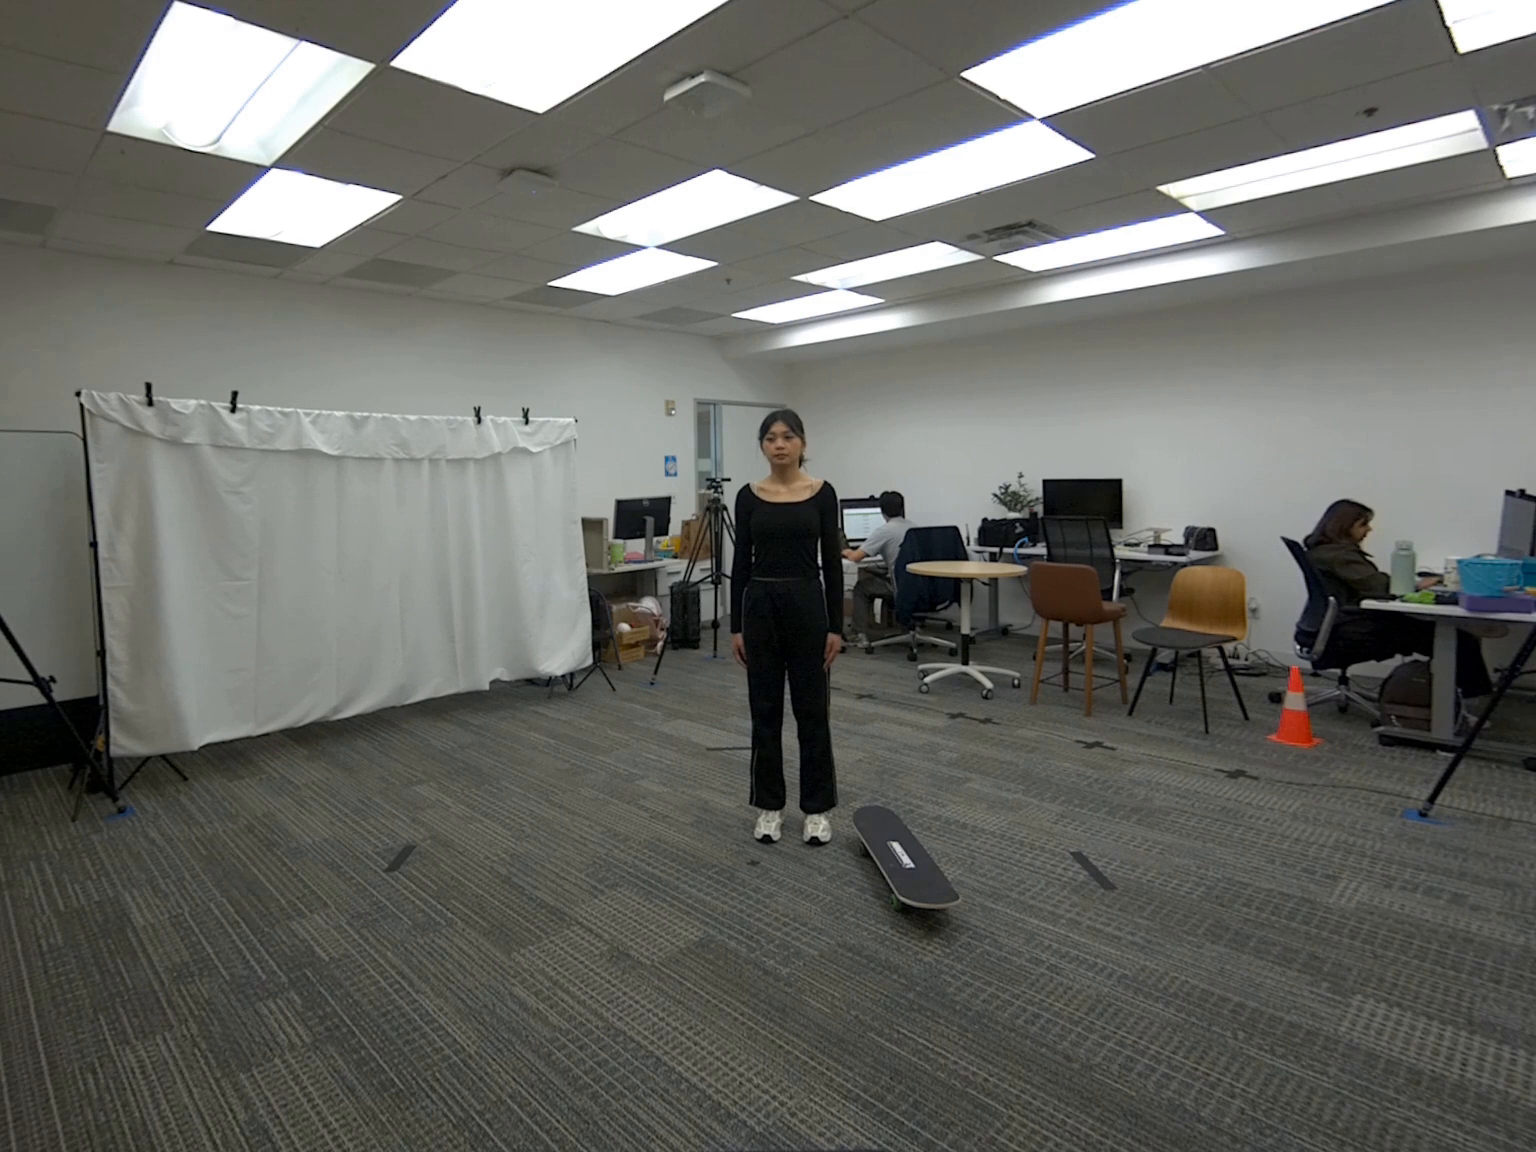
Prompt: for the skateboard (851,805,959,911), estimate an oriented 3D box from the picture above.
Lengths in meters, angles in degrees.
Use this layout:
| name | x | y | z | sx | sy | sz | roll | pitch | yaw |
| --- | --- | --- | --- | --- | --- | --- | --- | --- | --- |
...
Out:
| name | x | y | z | sx | sy | sz | roll | pitch | yaw |
| --- | --- | --- | --- | --- | --- | --- | --- | --- | --- |
| skateboard | 0.466 | 0.996 | 2.955 | 0.192 | 0.110 | 0.793 | -2 | 7 | -7 |
